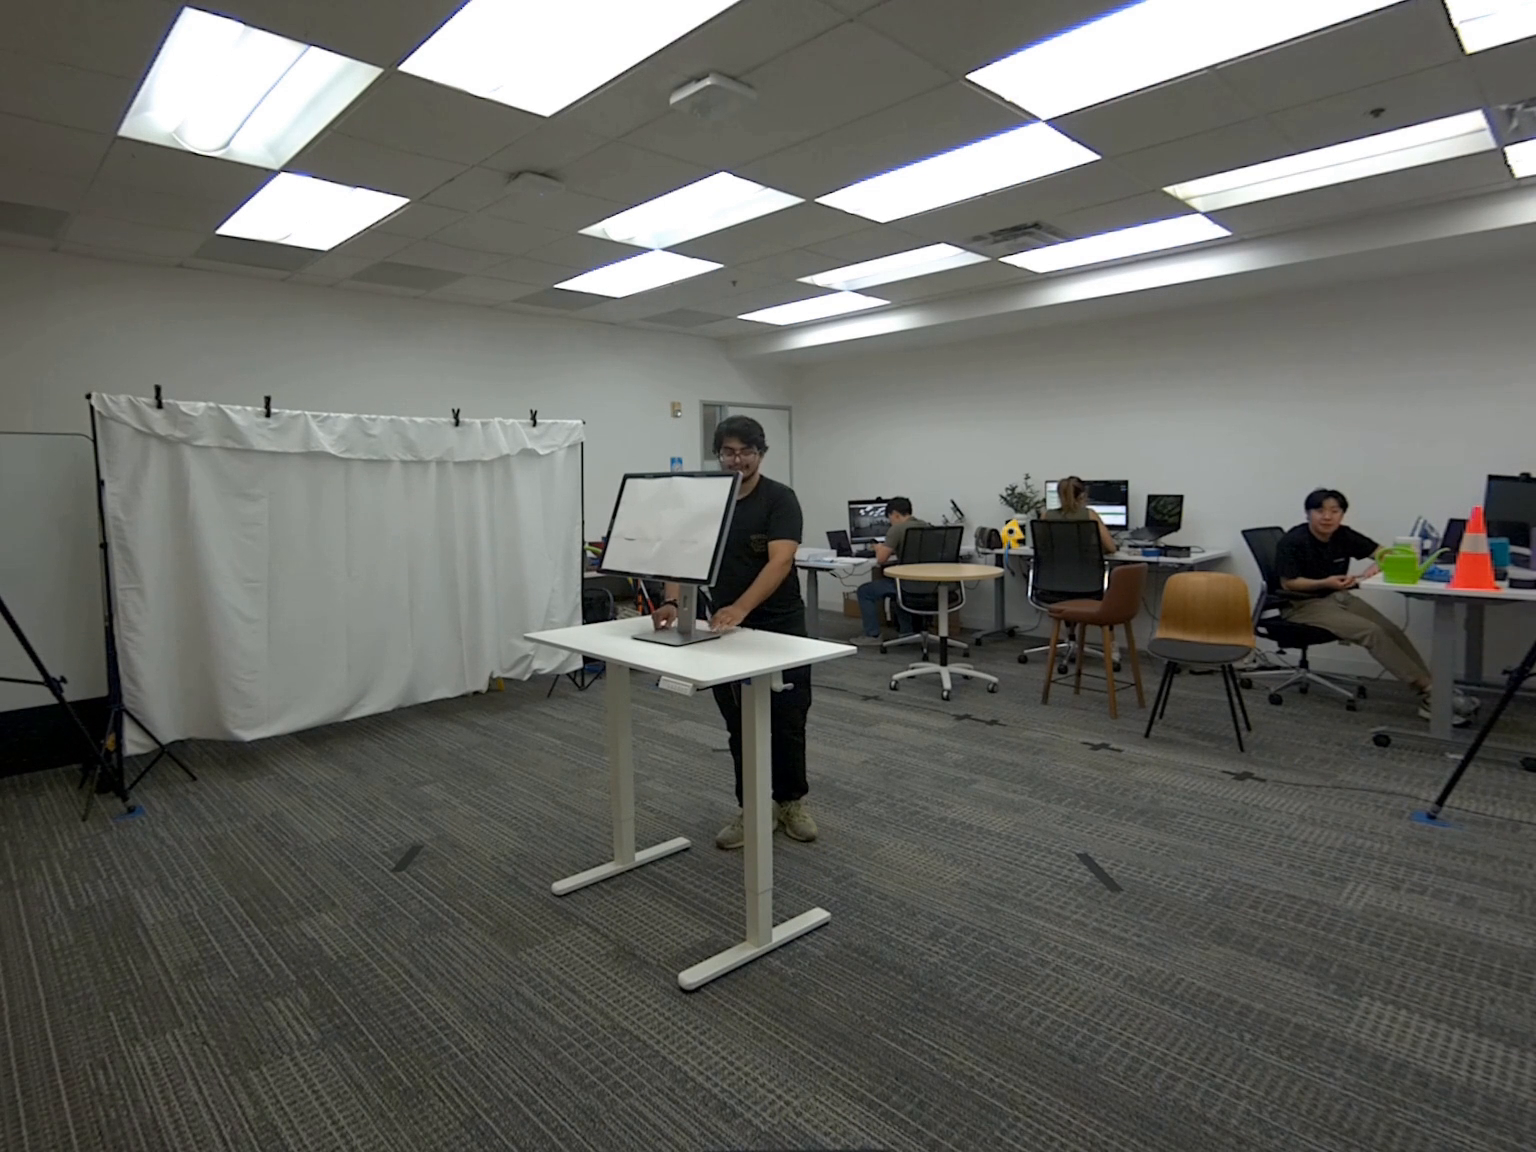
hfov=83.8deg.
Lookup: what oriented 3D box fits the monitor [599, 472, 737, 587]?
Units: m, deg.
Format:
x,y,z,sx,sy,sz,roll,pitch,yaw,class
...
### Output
x,y,z,sx,sy,sz,roll,pitch,yaw,class
-0.288,-0.064,2.801,0.583,0.556,0.203,3,-5,43,monitor
